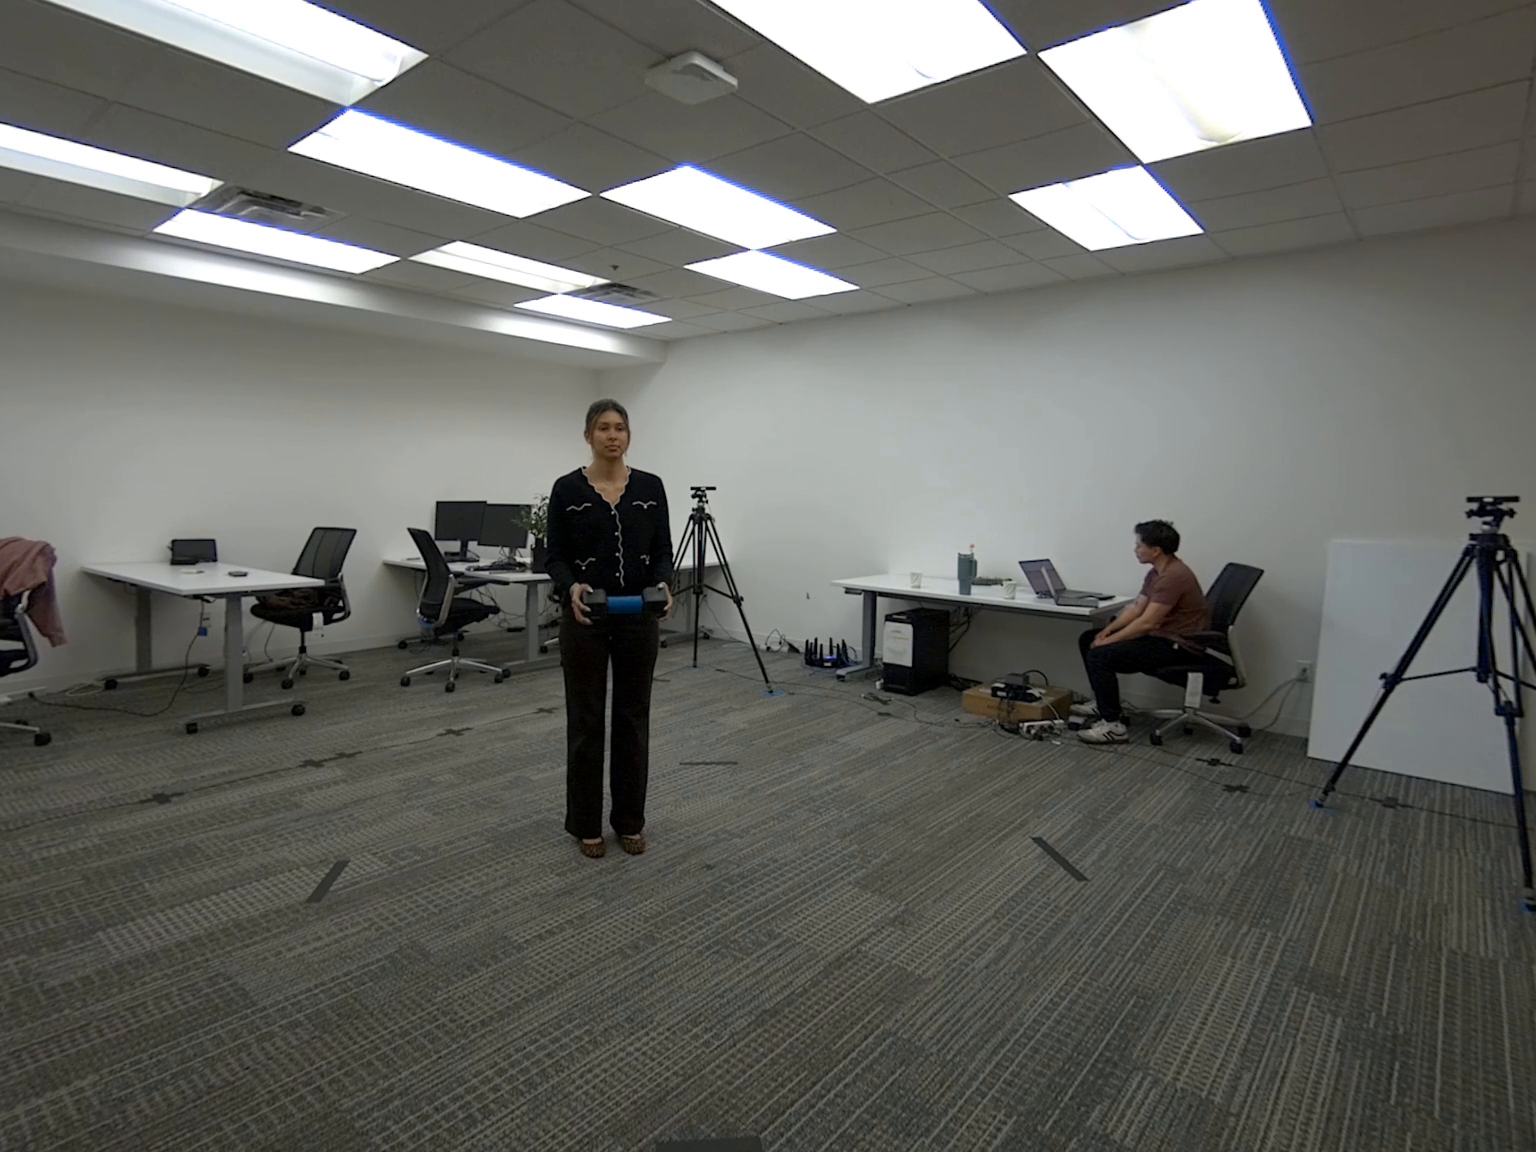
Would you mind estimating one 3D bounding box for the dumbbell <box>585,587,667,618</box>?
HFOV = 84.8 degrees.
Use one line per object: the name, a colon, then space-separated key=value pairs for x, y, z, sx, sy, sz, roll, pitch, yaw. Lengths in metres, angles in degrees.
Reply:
dumbbell: x=-0.533 y=0.087 z=2.975 sx=0.291 sy=0.127 sz=0.106 roll=1 pitch=-39 yaw=-9
